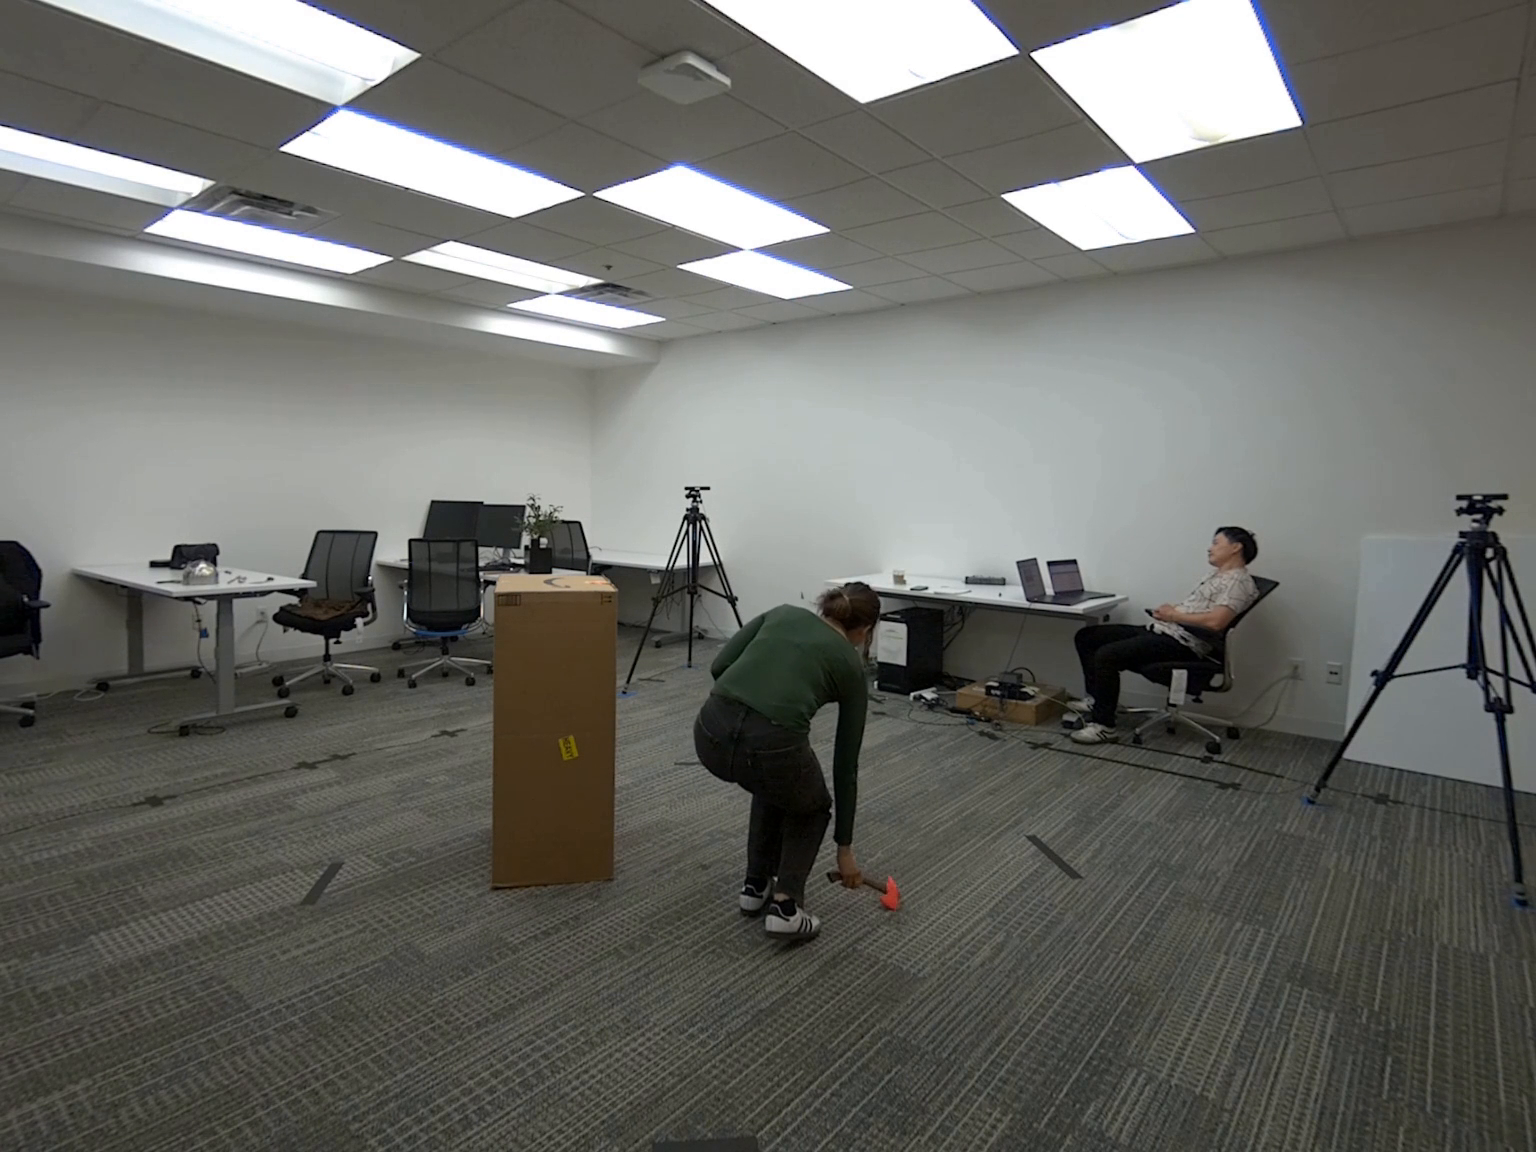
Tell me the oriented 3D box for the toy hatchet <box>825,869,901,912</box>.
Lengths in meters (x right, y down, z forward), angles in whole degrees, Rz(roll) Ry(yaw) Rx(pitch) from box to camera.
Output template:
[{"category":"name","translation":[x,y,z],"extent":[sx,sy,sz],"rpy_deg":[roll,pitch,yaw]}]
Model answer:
[{"category":"toy hatchet","translation":[0.321,1.043,2.831],"extent":[0.263,0.029,0.136],"rpy_deg":[13,29,-24]}]
